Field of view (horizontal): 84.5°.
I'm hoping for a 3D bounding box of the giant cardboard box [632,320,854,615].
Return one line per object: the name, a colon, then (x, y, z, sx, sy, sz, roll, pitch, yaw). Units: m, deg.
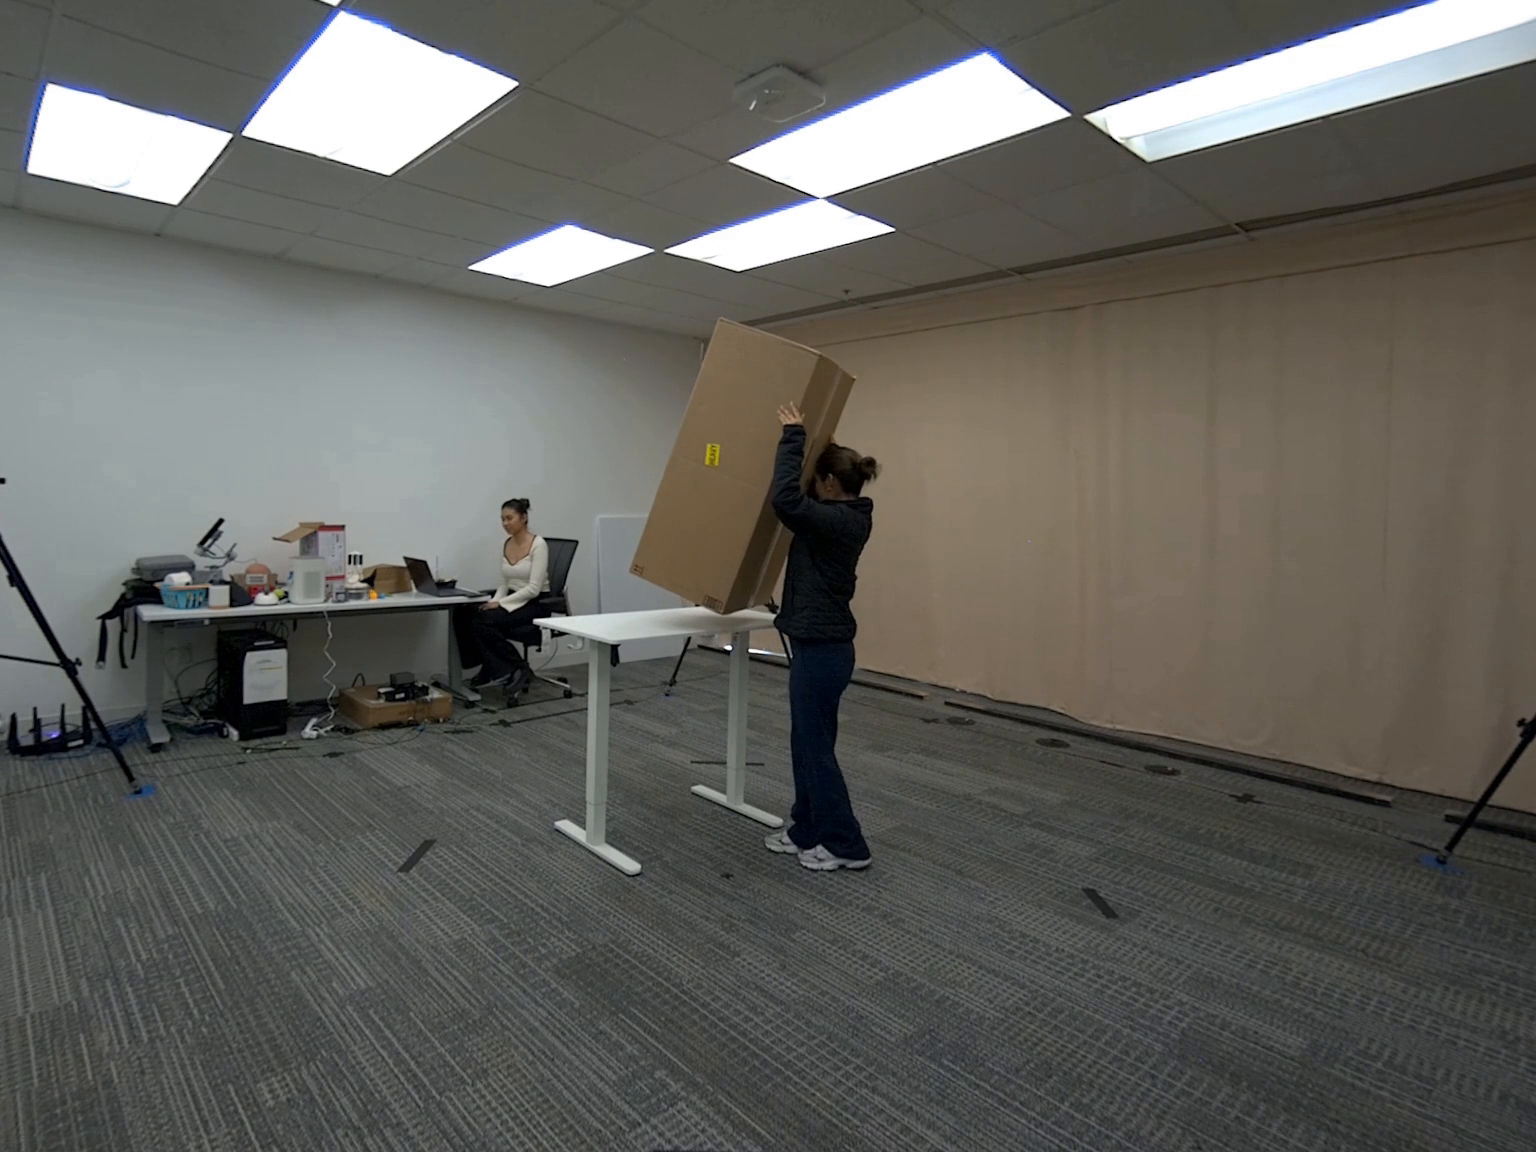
giant cardboard box: (-0.093, -0.416, 3.363, 0.455, 1.023, 0.575, 24, 10, 19)
